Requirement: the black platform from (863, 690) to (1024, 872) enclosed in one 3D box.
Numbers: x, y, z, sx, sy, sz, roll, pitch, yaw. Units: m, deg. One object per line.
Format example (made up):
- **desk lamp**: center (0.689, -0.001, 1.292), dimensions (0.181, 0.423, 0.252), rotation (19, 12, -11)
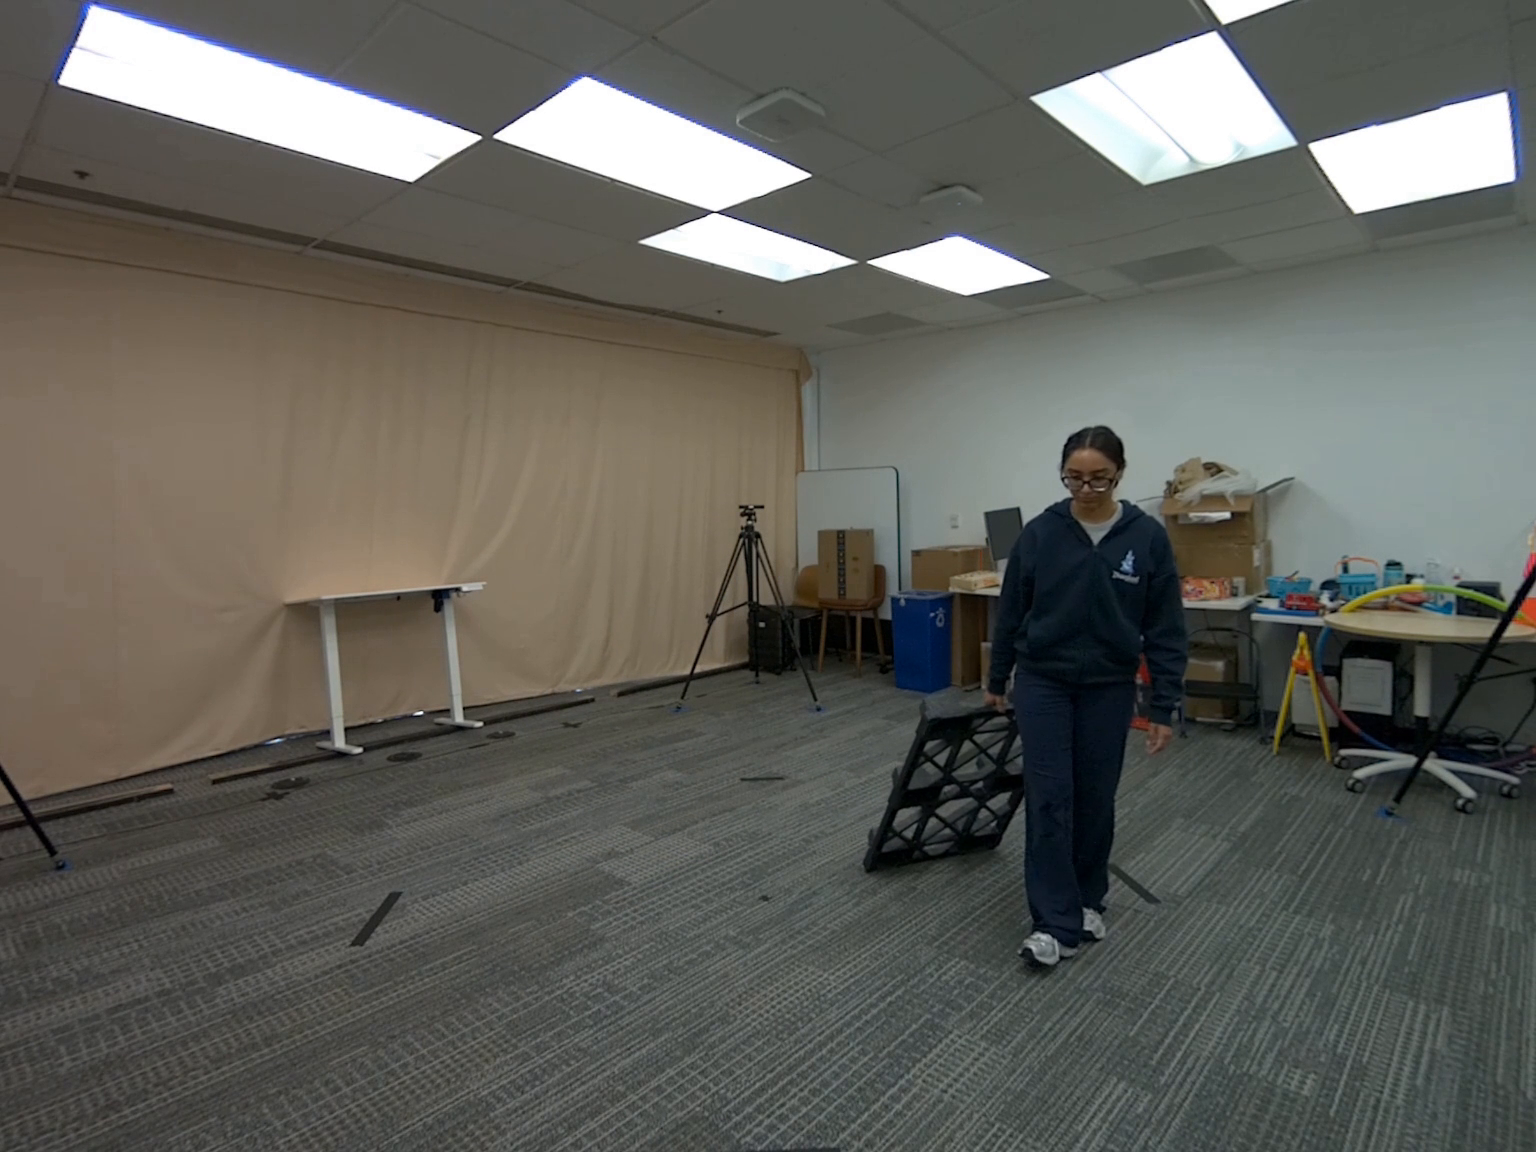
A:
- **black platform**: center (0.697, 0.751, 3.098), dimensions (0.593, 0.797, 0.148), rotation (-1, 35, -20)
